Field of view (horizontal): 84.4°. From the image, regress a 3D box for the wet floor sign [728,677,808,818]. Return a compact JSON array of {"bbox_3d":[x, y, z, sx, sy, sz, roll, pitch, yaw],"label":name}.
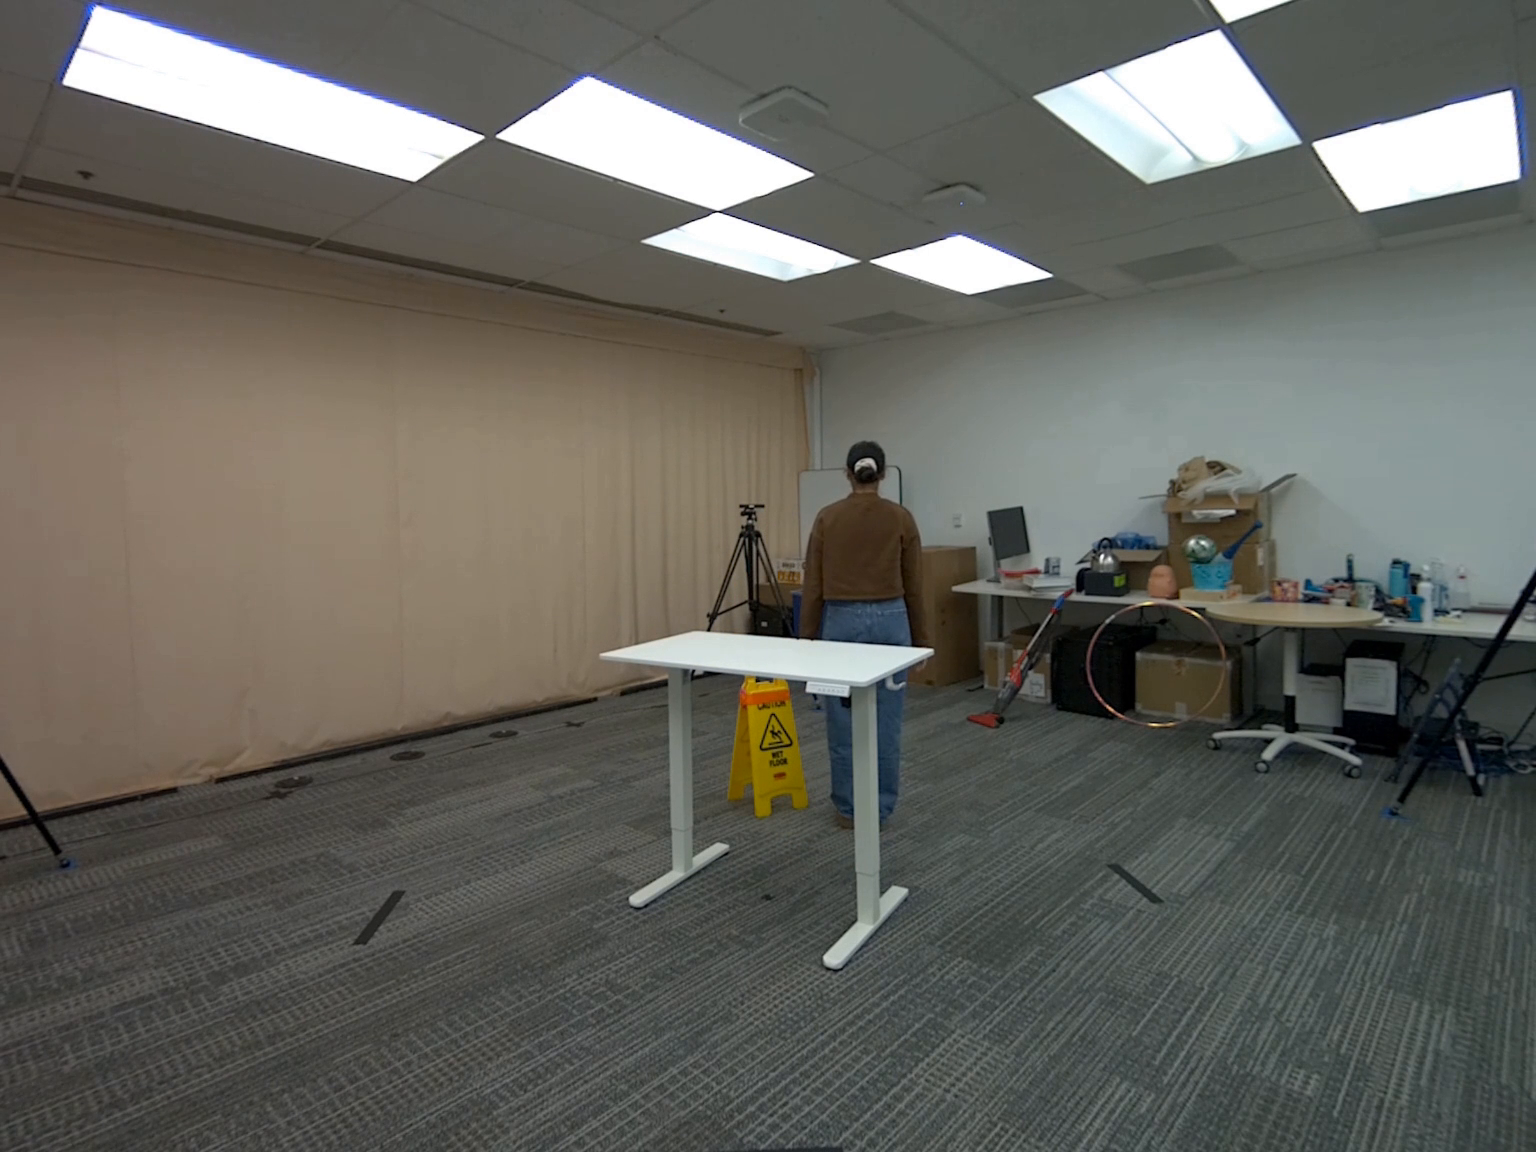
[{"bbox_3d":[-0.009,0.738,3.908,0.275,0.645,0.298,-4,4,-30],"label":"wet floor sign"}]
